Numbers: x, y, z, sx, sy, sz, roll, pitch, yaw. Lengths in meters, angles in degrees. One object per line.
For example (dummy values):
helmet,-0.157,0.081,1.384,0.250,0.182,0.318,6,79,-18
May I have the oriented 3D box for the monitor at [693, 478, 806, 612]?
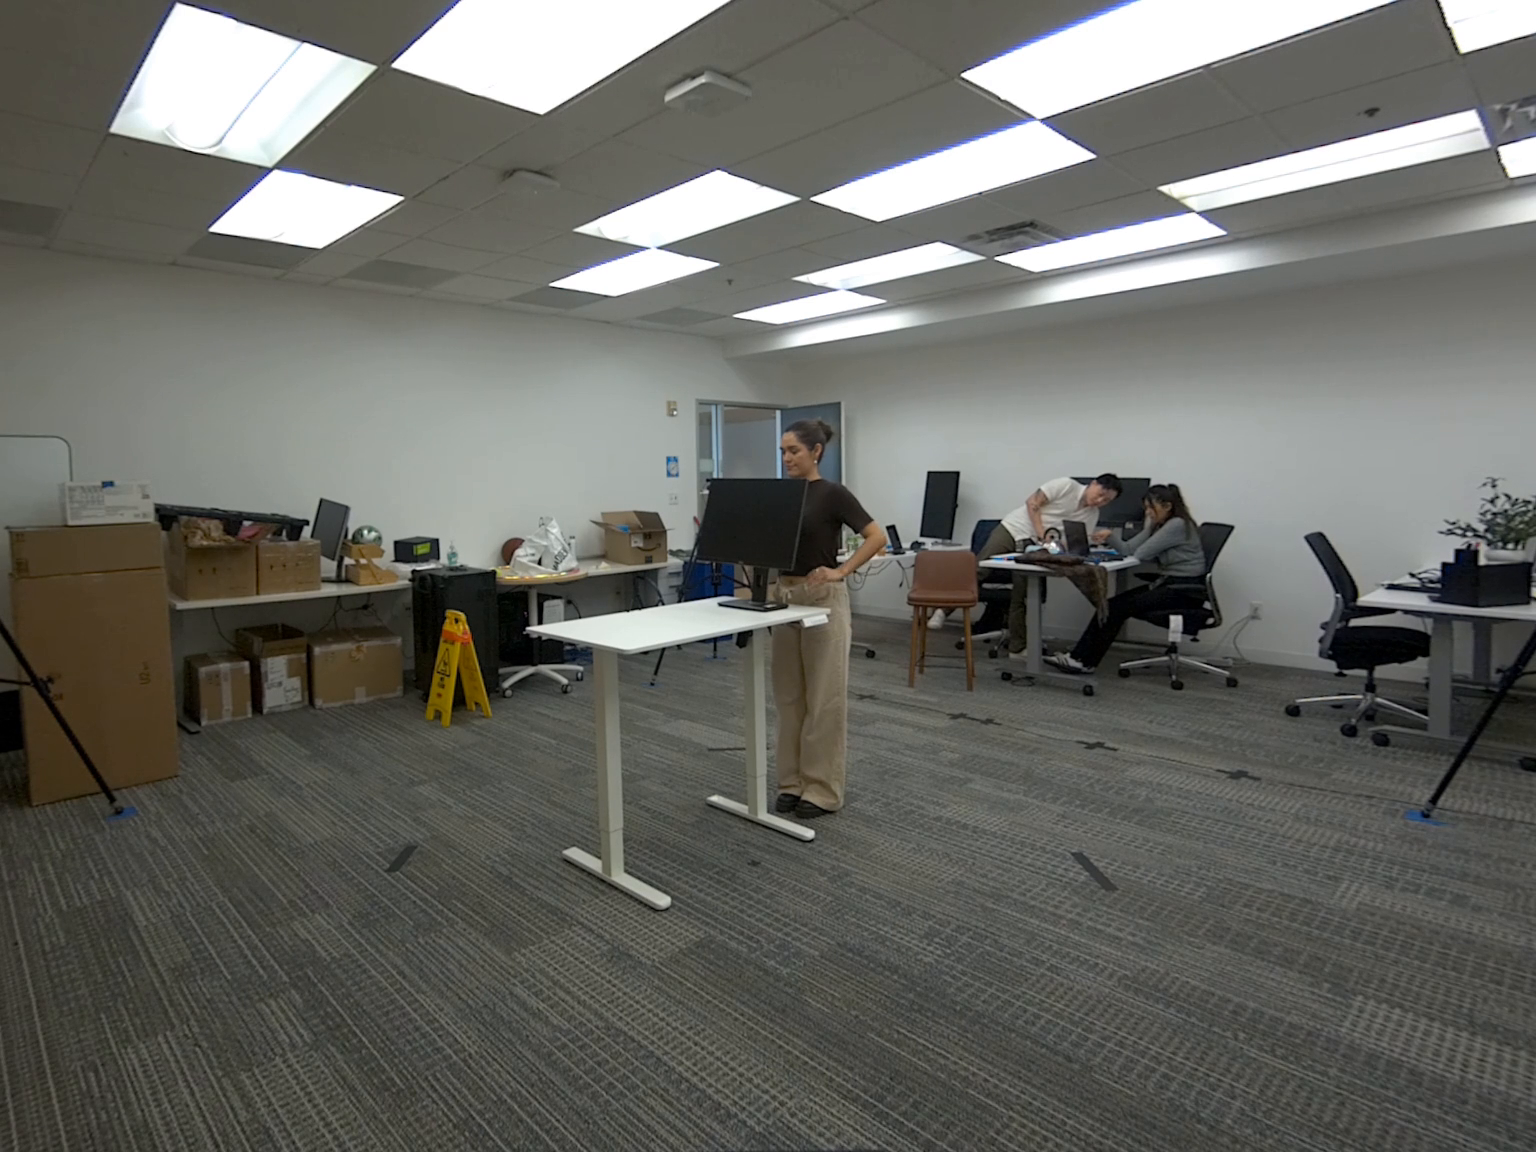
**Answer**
monitor,-0.056,-0.133,3.429,0.547,0.513,0.170,6,10,43
